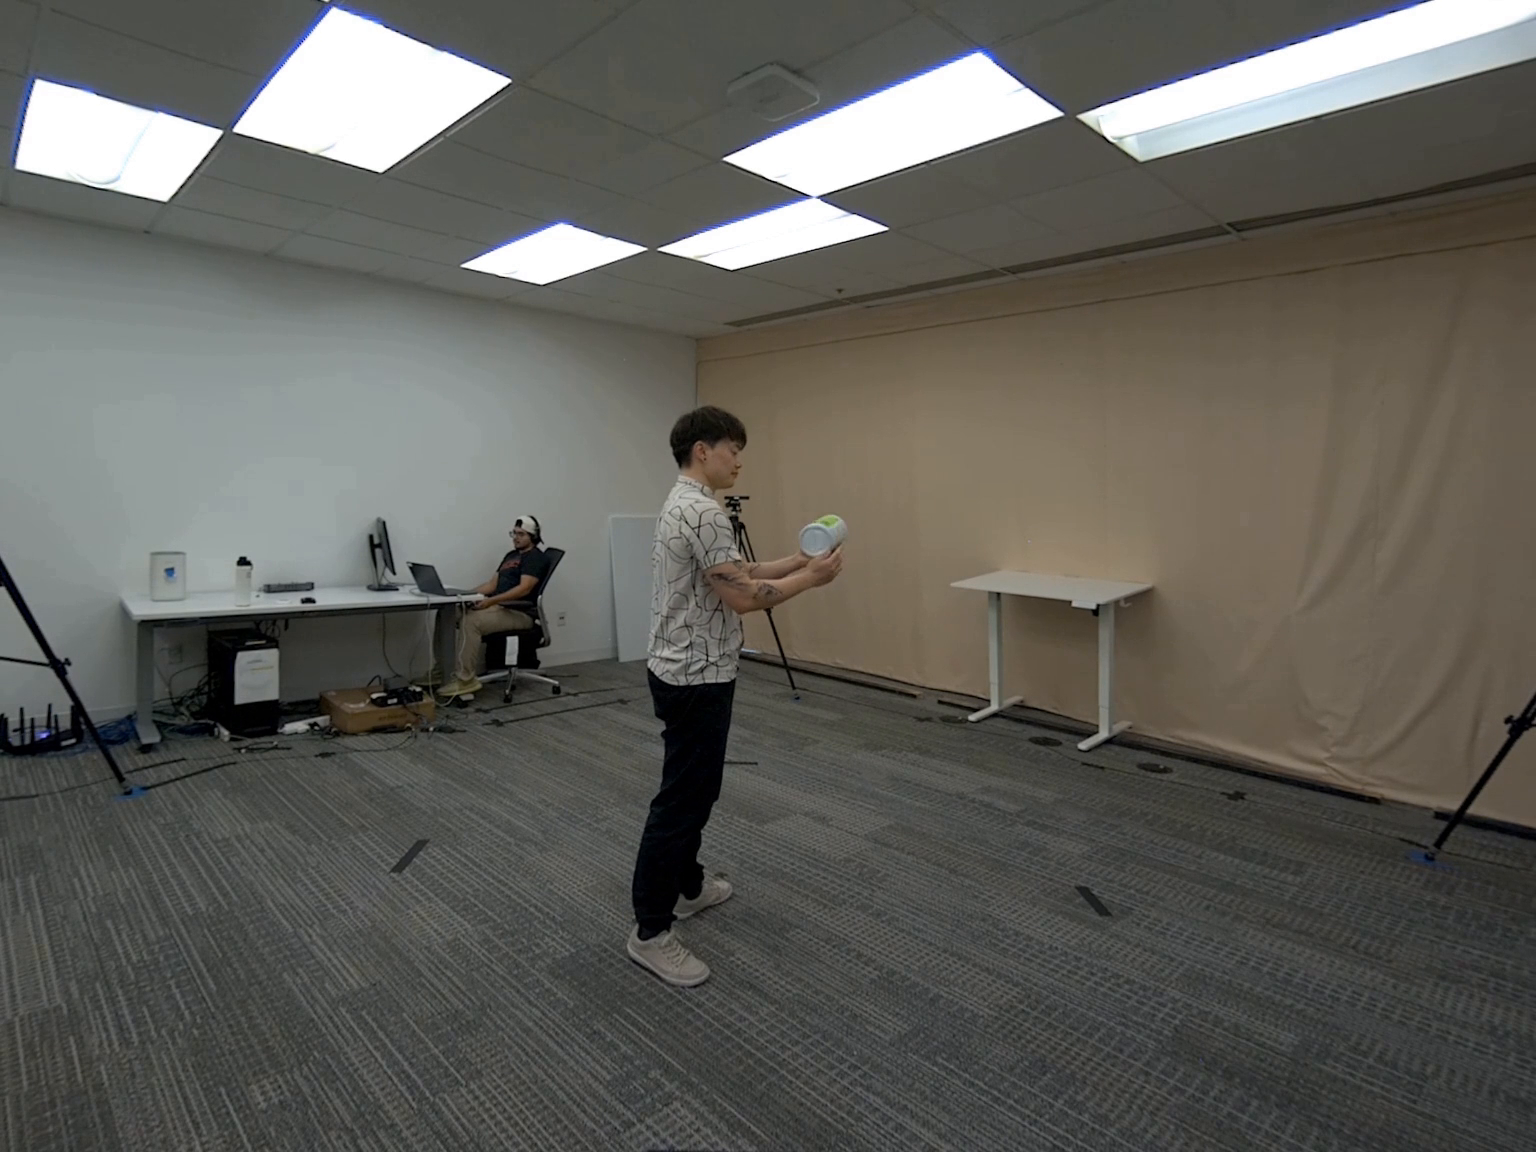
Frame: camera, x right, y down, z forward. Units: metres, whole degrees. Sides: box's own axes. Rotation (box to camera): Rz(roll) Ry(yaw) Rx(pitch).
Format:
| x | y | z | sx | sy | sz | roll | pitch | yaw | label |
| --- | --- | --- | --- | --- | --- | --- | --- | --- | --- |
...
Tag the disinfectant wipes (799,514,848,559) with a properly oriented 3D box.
| x | y | z | sx | sy | sz | roll | pitch | yaw | label |
| --- | --- | --- | --- | --- | --- | --- | --- | --- | --- |
| 0.167 | -0.129 | 2.687 | 0.119 | 0.117 | 0.216 | 3 | 13 | 17 | disinfectant wipes |
